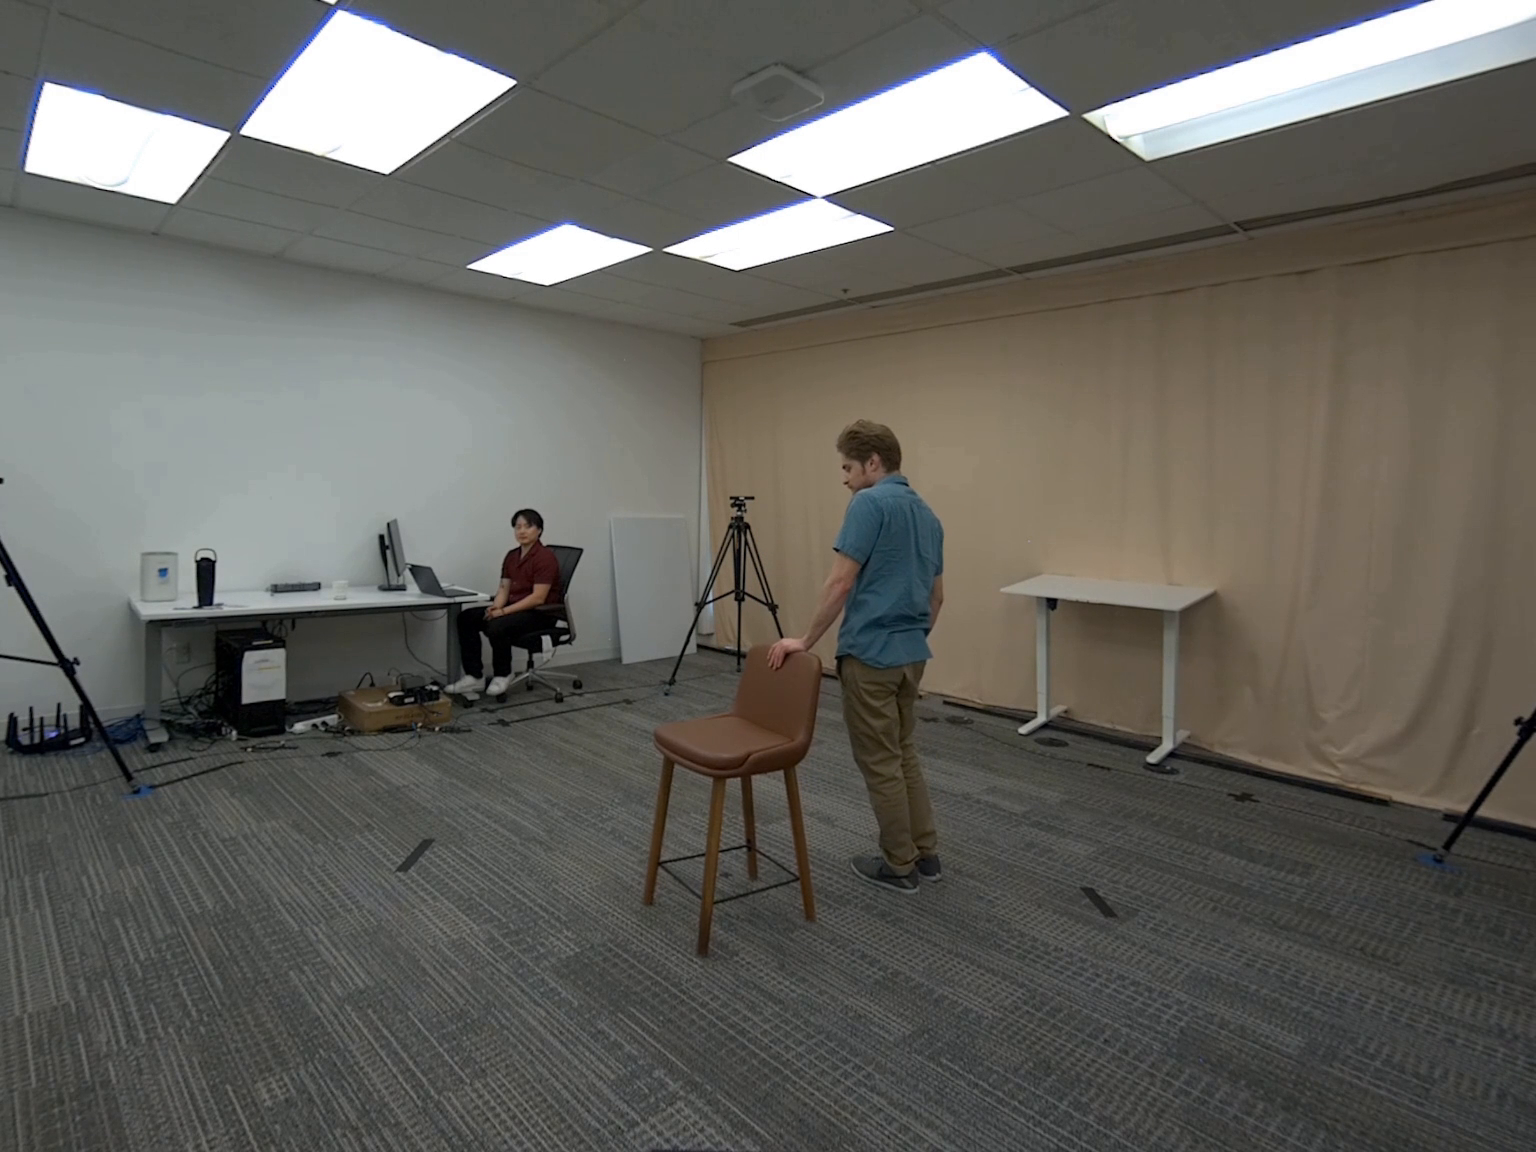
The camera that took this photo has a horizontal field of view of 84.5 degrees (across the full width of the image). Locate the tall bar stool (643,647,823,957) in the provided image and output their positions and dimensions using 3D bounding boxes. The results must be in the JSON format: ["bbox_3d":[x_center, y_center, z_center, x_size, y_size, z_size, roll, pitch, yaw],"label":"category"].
[{"bbox_3d":[-0.117,0.696,2.802,0.457,0.888,0.467,1,3,-33],"label":"tall bar stool"}]
